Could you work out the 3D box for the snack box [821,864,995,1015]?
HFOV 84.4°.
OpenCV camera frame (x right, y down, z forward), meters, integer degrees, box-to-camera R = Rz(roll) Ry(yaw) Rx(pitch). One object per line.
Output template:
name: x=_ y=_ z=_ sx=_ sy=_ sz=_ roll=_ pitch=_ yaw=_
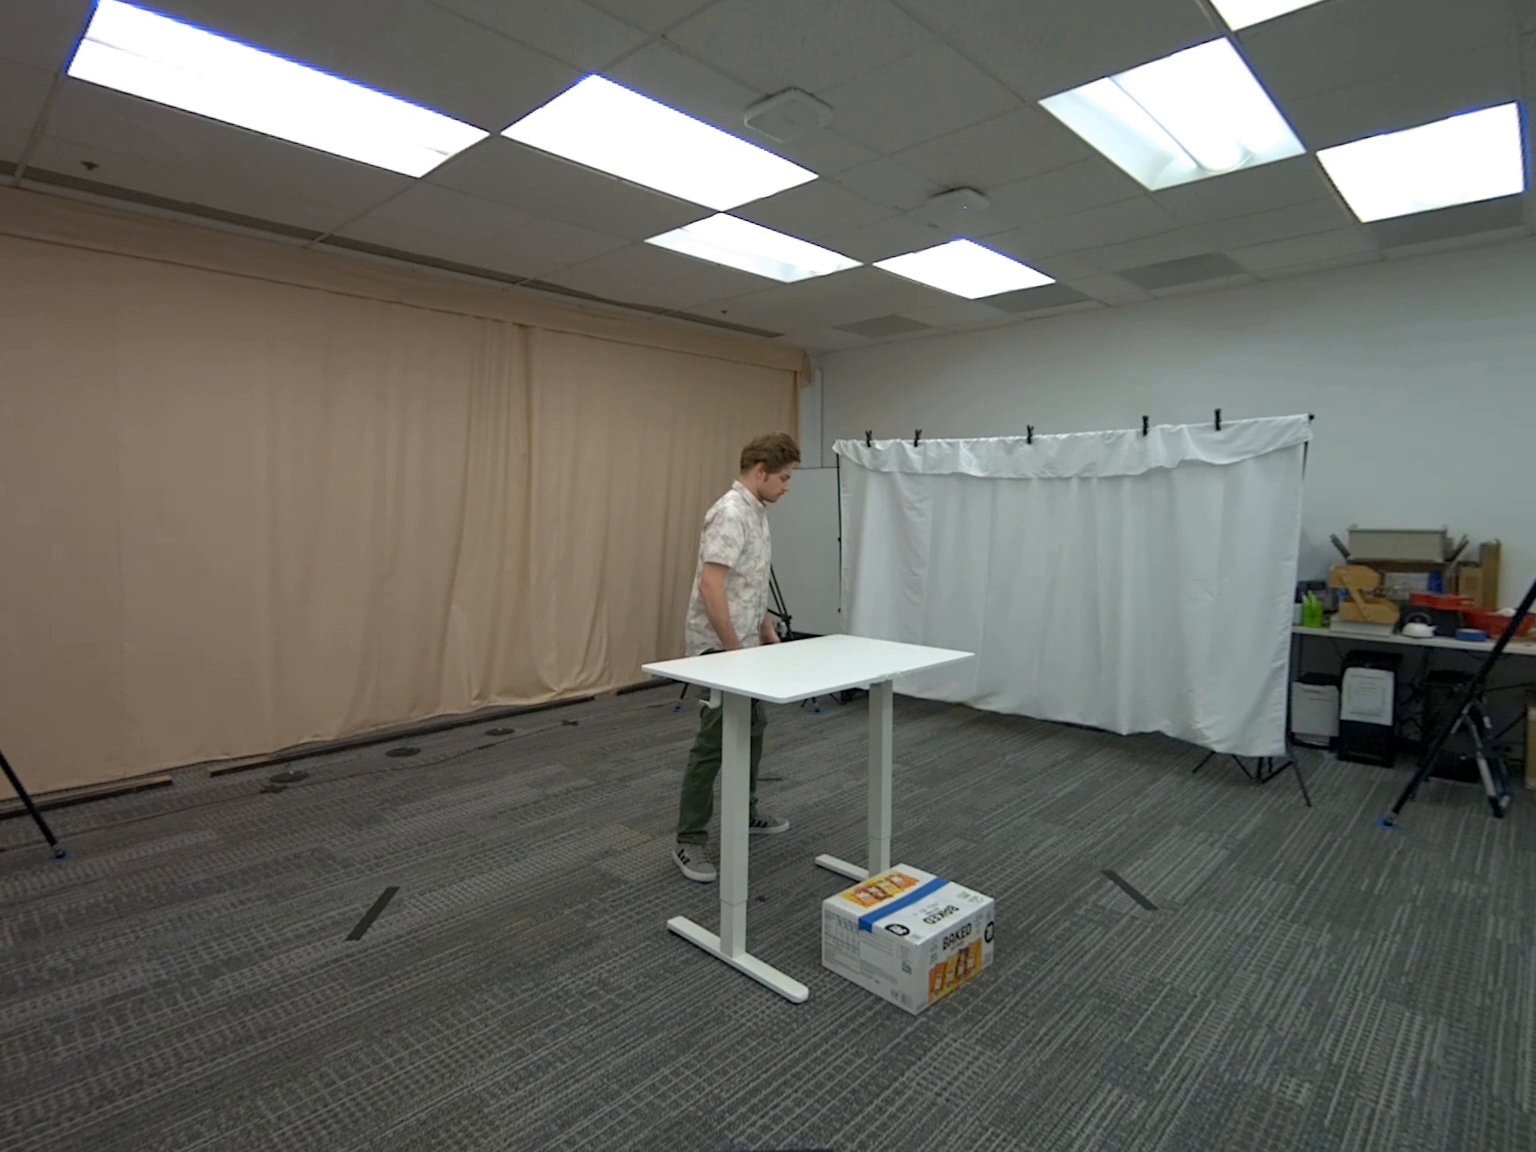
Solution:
snack box: x=0.430 y=1.080 z=2.537 sx=0.393 sy=0.205 sz=0.352 roll=-4 pitch=6 yaw=-43
